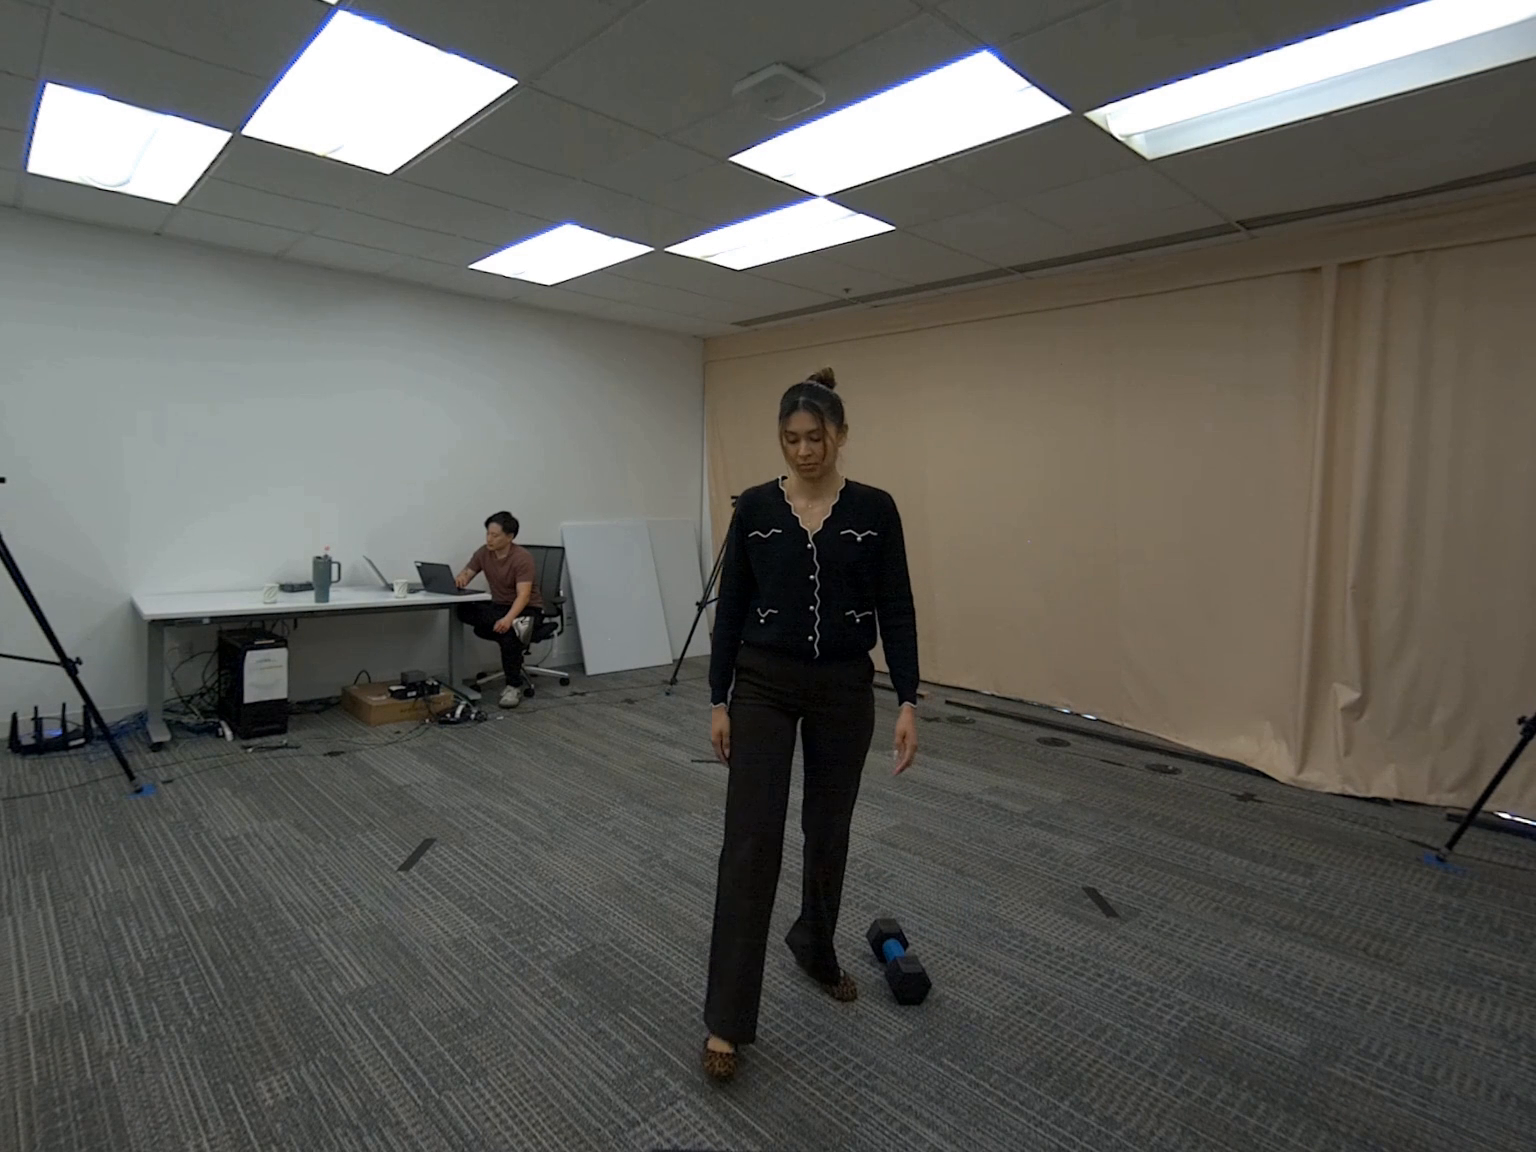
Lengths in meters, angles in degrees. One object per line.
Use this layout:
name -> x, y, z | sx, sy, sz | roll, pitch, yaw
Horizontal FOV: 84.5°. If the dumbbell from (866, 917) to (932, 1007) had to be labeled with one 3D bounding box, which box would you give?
dumbbell -> 0.373, 1.123, 2.460 | 0.108, 0.123, 0.296 | 29, 1, -9
